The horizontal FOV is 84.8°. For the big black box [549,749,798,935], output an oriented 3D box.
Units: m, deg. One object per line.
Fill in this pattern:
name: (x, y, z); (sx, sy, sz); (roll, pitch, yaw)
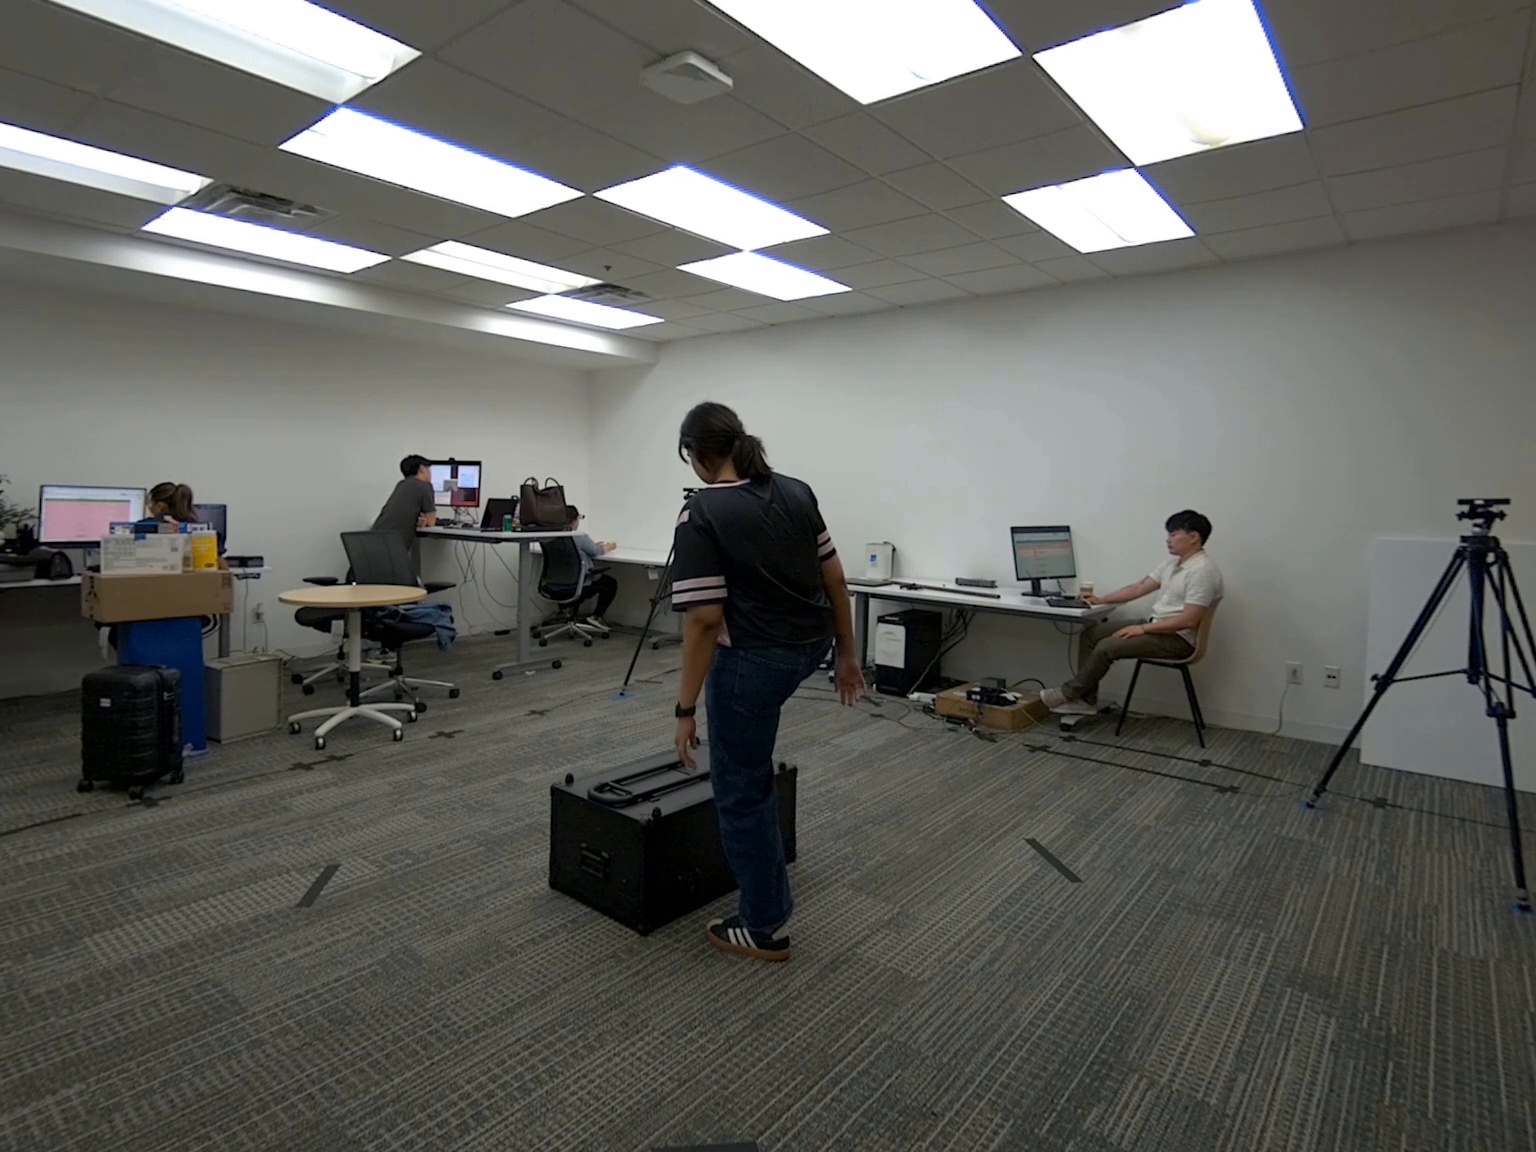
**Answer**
big black box: (-0.317, 0.884, 3.094); (0.541, 0.384, 0.843); (4, 5, 40)
